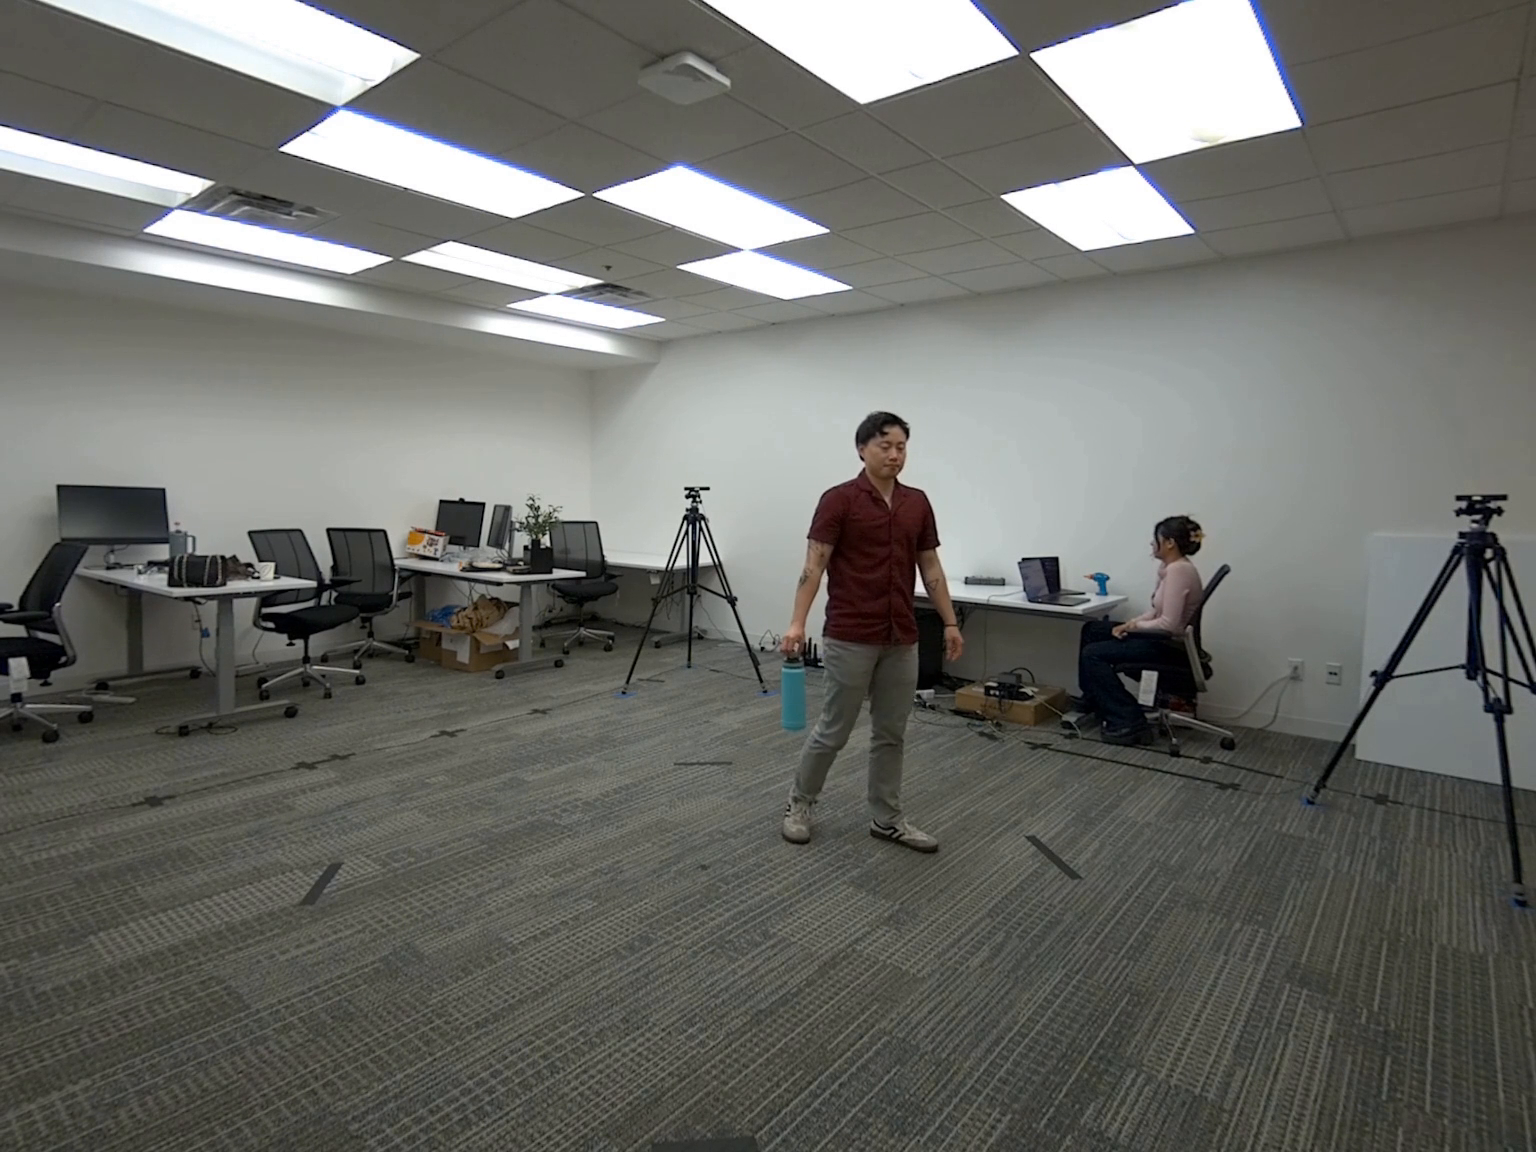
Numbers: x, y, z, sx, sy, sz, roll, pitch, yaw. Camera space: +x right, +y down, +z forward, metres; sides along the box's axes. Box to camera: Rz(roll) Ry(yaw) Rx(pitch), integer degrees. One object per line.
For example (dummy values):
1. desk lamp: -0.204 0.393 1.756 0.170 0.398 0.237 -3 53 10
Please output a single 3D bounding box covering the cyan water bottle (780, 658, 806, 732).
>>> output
1. cyan water bottle: 0.089 0.425 3.154 0.092 0.283 0.092 0 2 -2
